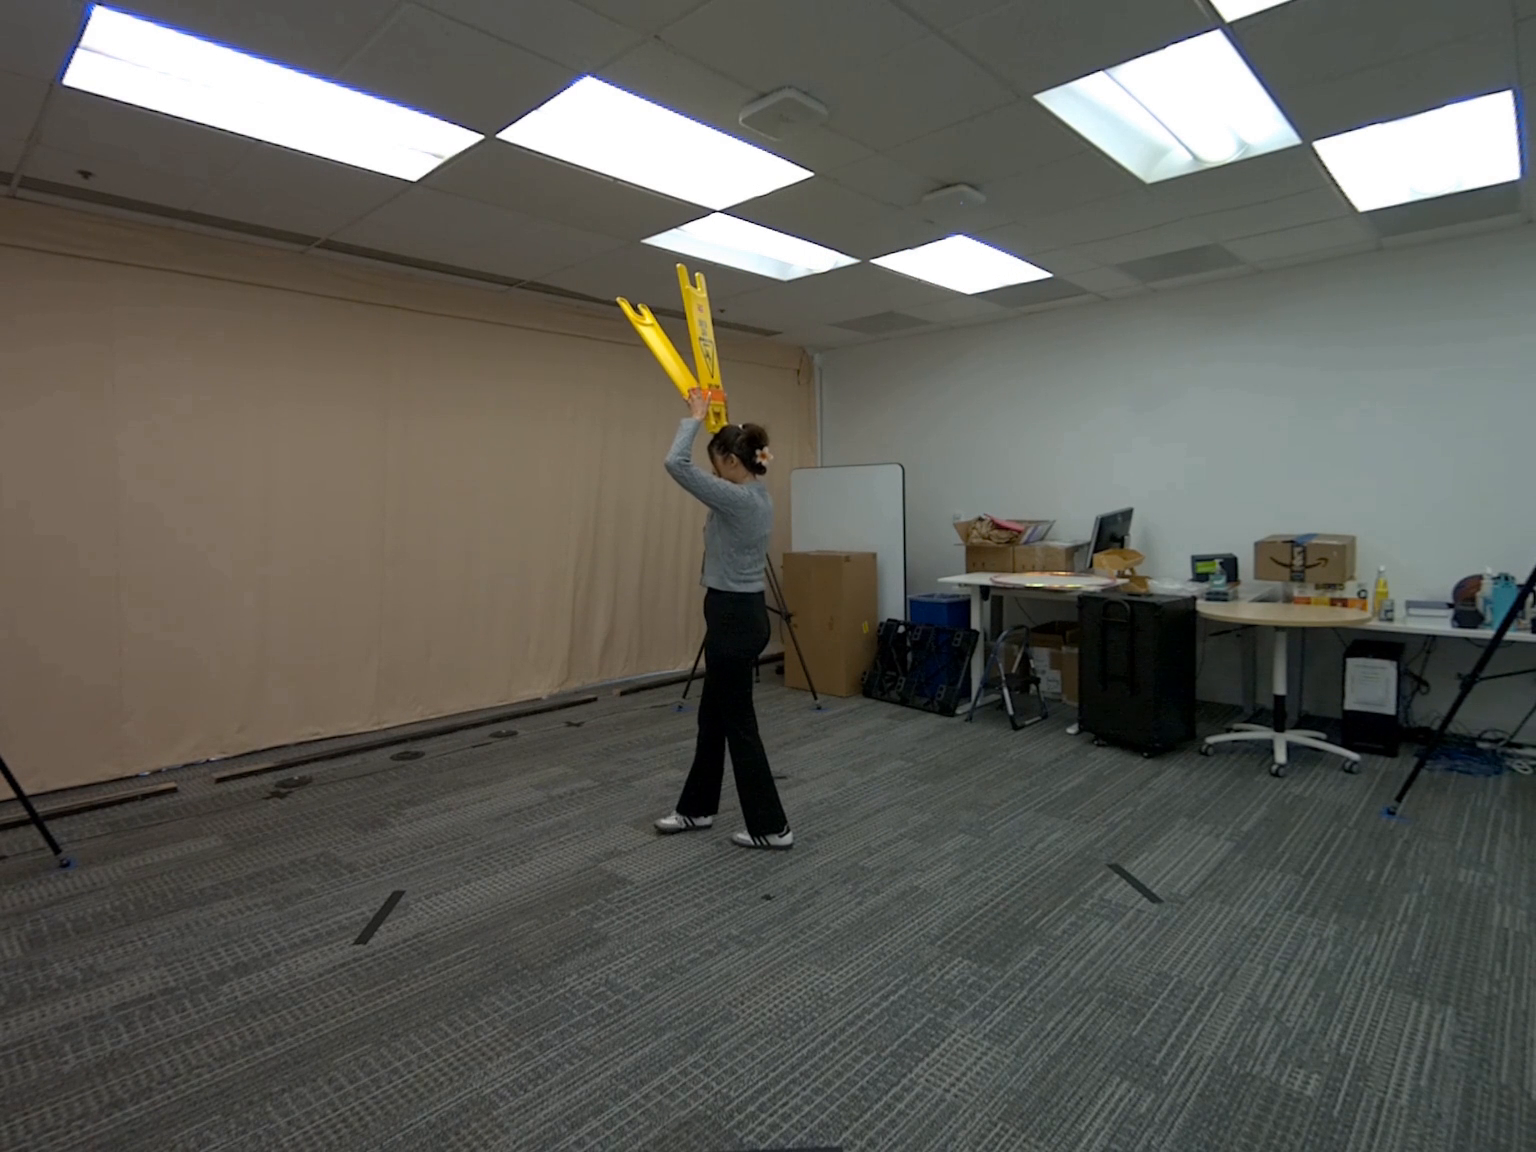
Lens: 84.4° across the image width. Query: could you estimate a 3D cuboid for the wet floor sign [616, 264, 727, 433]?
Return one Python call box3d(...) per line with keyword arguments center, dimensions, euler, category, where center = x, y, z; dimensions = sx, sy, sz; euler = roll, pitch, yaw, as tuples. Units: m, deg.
box3d(center=(-0.316, -0.885, 3.434), dimensions=(0.294, 0.646, 0.278), euler=(-22, 0, 21), category="wet floor sign")
